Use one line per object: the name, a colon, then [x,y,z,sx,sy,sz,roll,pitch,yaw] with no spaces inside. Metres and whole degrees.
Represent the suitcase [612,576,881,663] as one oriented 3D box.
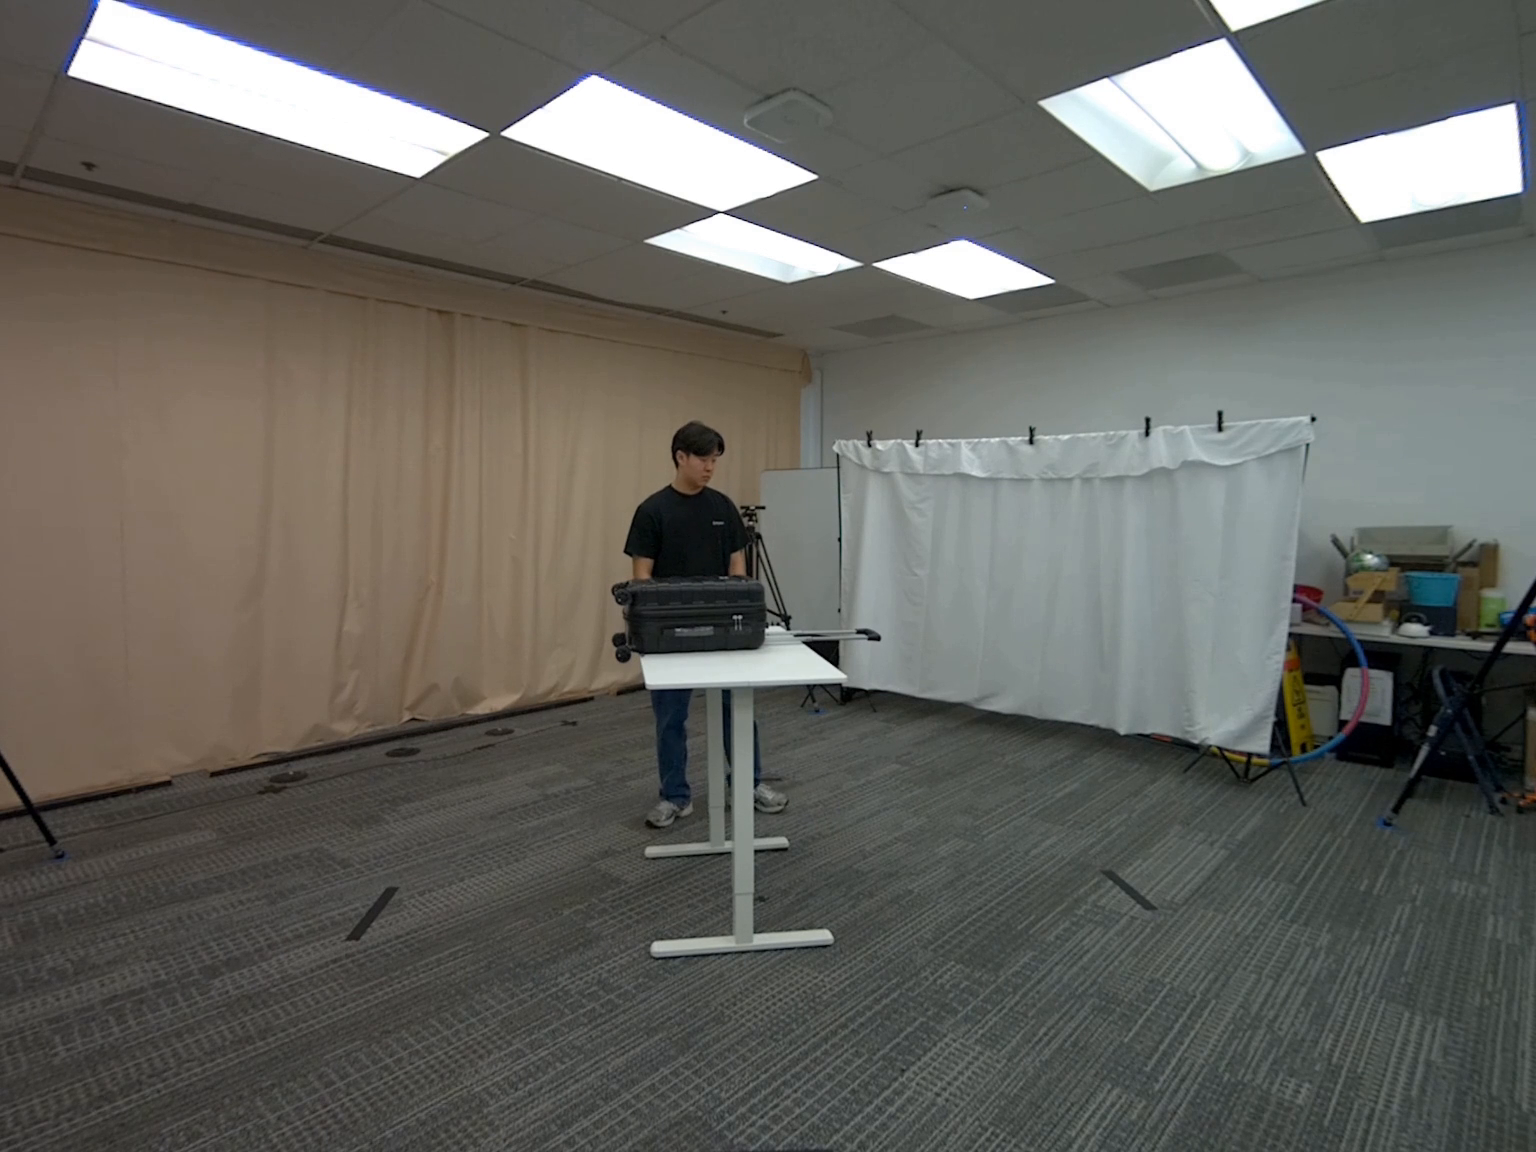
suitcase: [-0.085,0.126,3.110,0.969,0.256,0.389,-3,4,-9]
